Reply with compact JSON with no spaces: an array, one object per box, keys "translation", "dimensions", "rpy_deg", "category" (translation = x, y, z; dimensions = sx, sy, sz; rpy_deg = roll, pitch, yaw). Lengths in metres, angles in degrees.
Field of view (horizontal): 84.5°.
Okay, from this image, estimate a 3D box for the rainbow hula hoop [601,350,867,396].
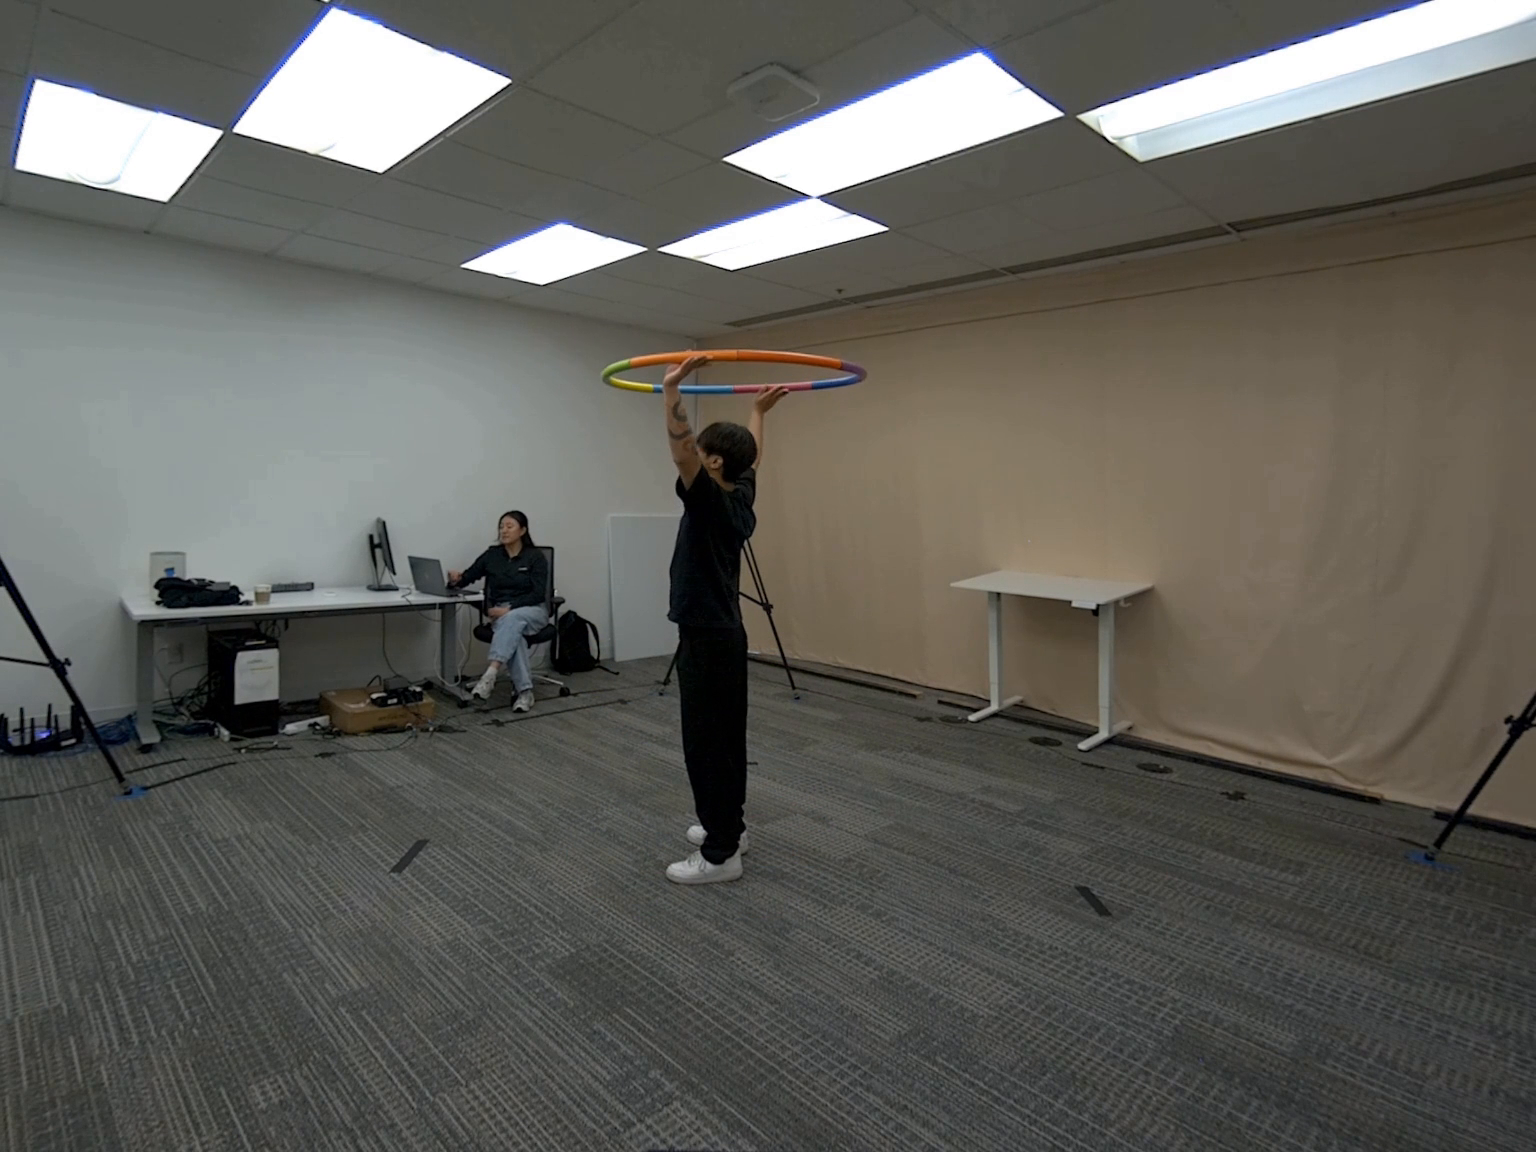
[{"translation":[-0.135,-0.728,3.095],"dimensions":[0.978,0.035,0.983],"rpy_deg":[-1,6,-1],"category":"rainbow hula hoop"}]
